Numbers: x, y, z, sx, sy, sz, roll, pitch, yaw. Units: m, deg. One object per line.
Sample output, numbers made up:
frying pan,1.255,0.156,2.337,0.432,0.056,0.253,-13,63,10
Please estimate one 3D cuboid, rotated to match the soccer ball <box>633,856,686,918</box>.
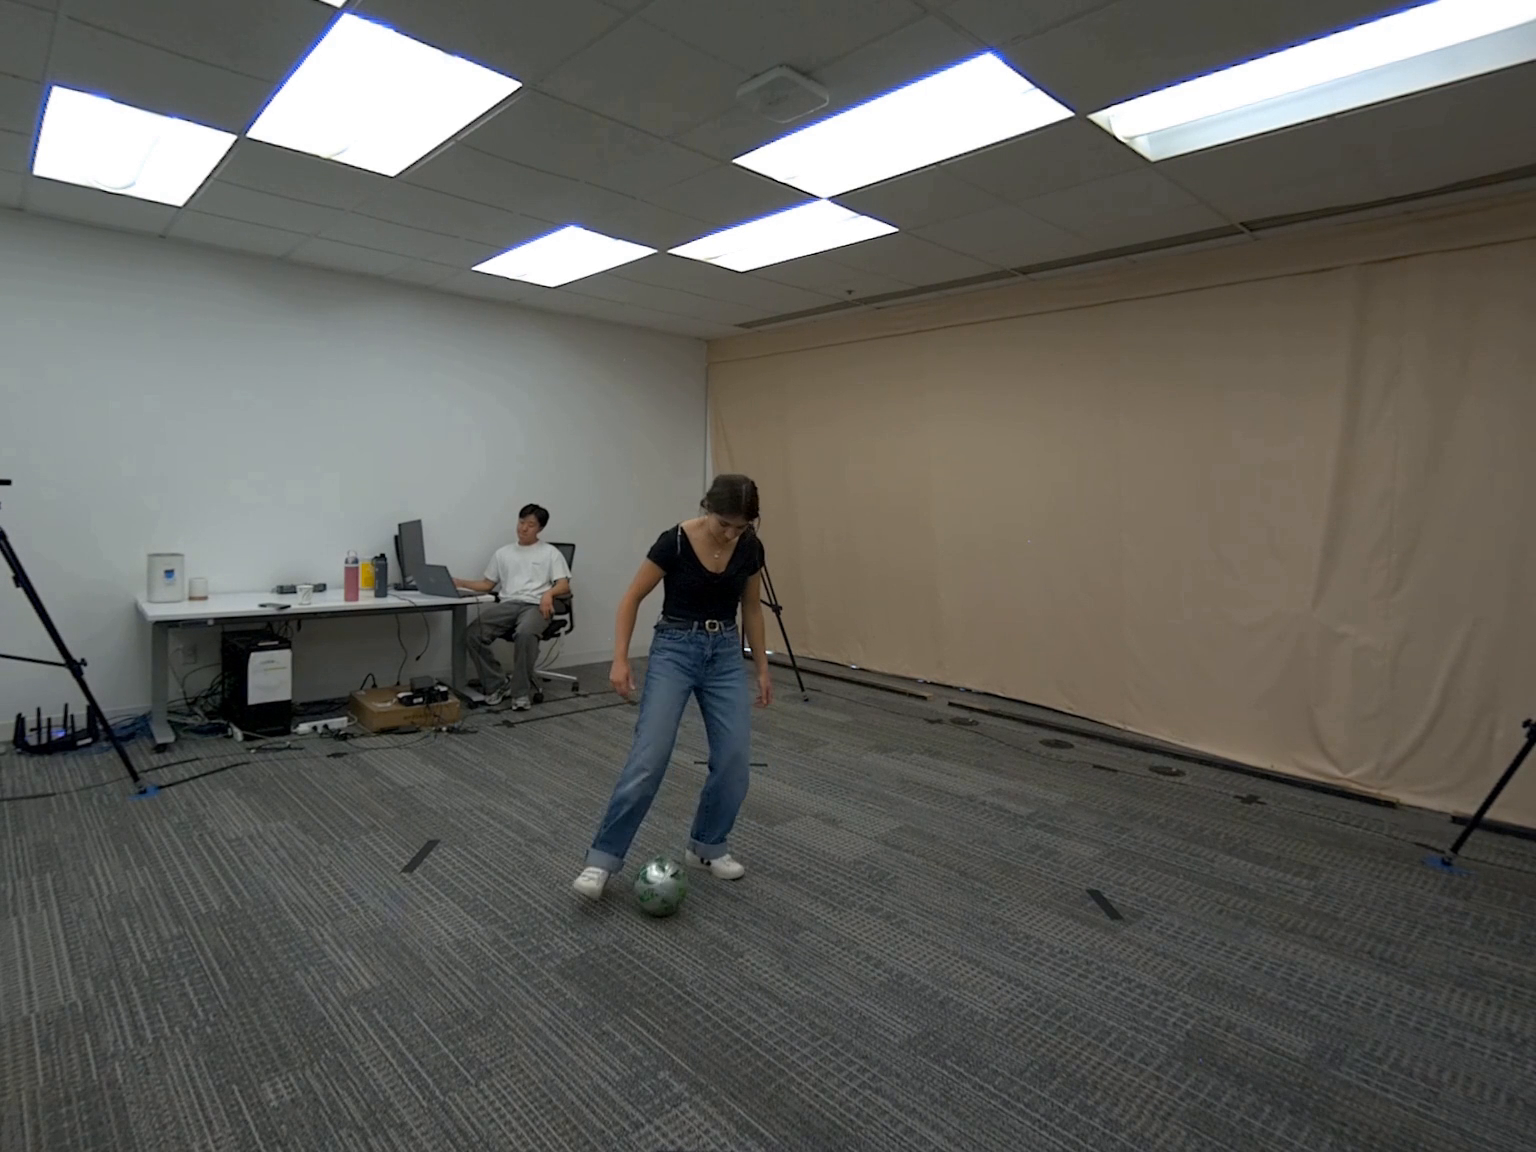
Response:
soccer ball,-0.362,1.039,2.812,0.187,0.187,0.188,1,4,-1
